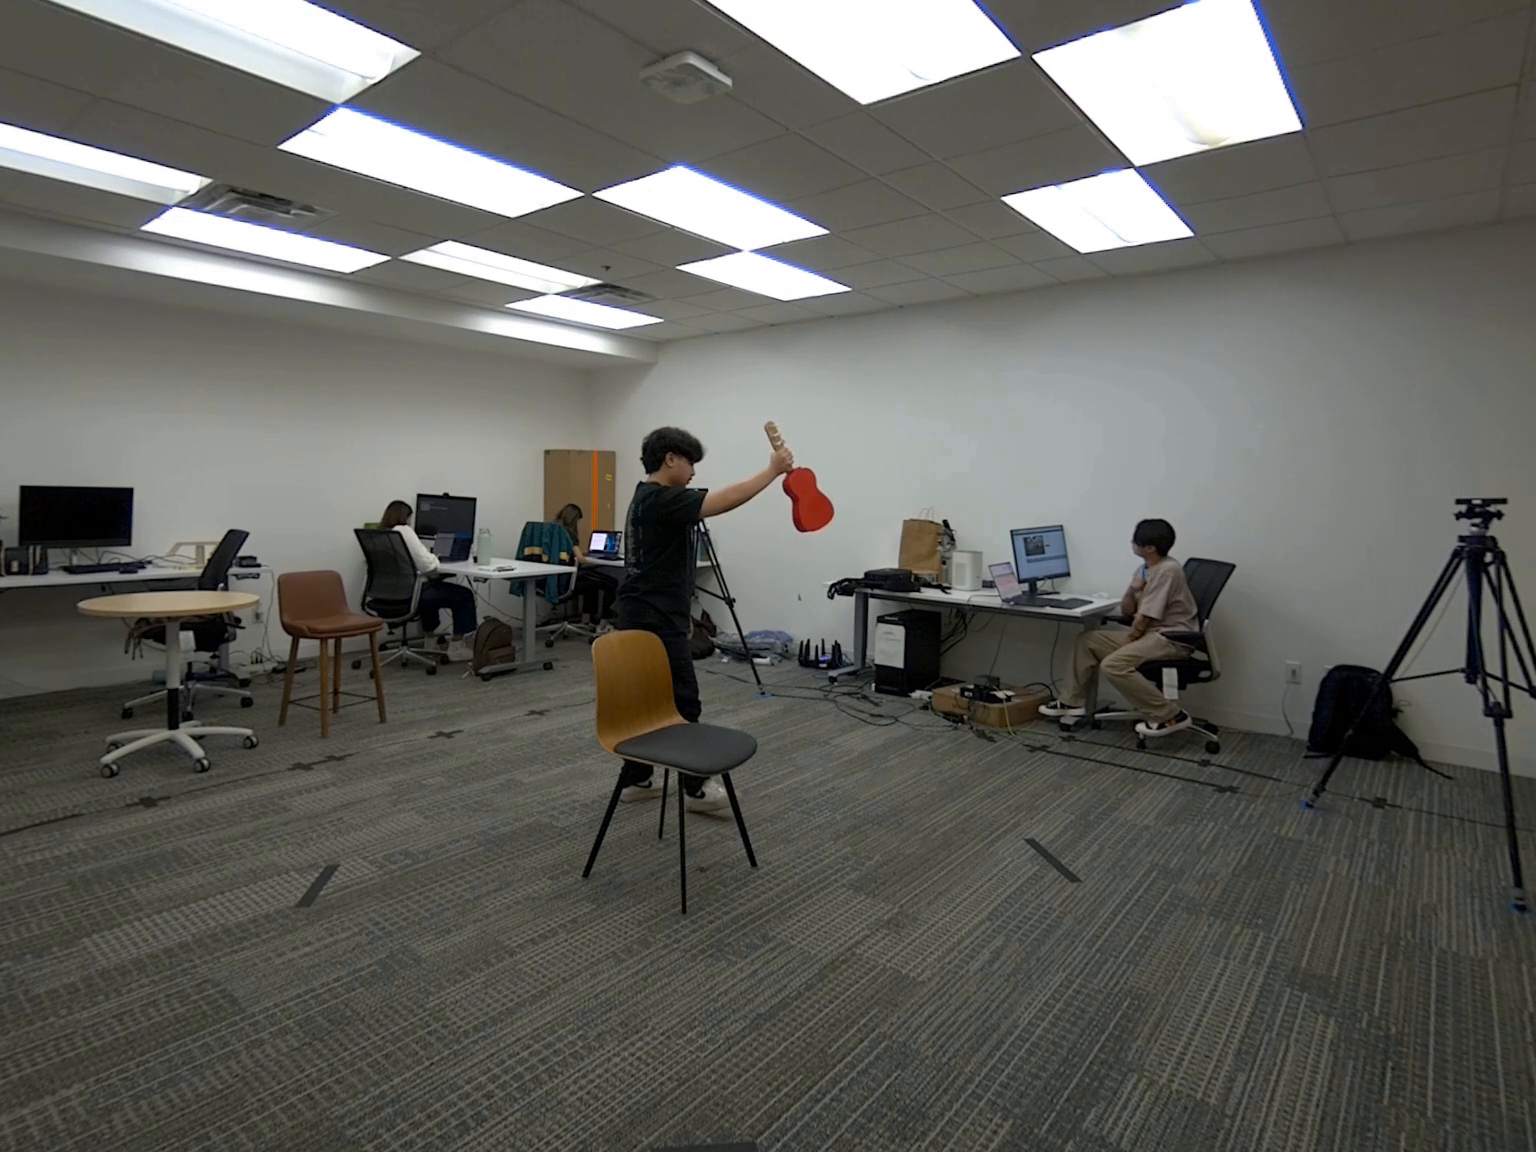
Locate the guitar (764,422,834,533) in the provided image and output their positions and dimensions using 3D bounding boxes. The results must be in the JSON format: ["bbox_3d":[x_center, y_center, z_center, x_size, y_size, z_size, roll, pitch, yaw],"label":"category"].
[{"bbox_3d":[0.093,-0.411,3.601,0.192,0.489,0.072,-38,14,-30],"label":"guitar"}]
